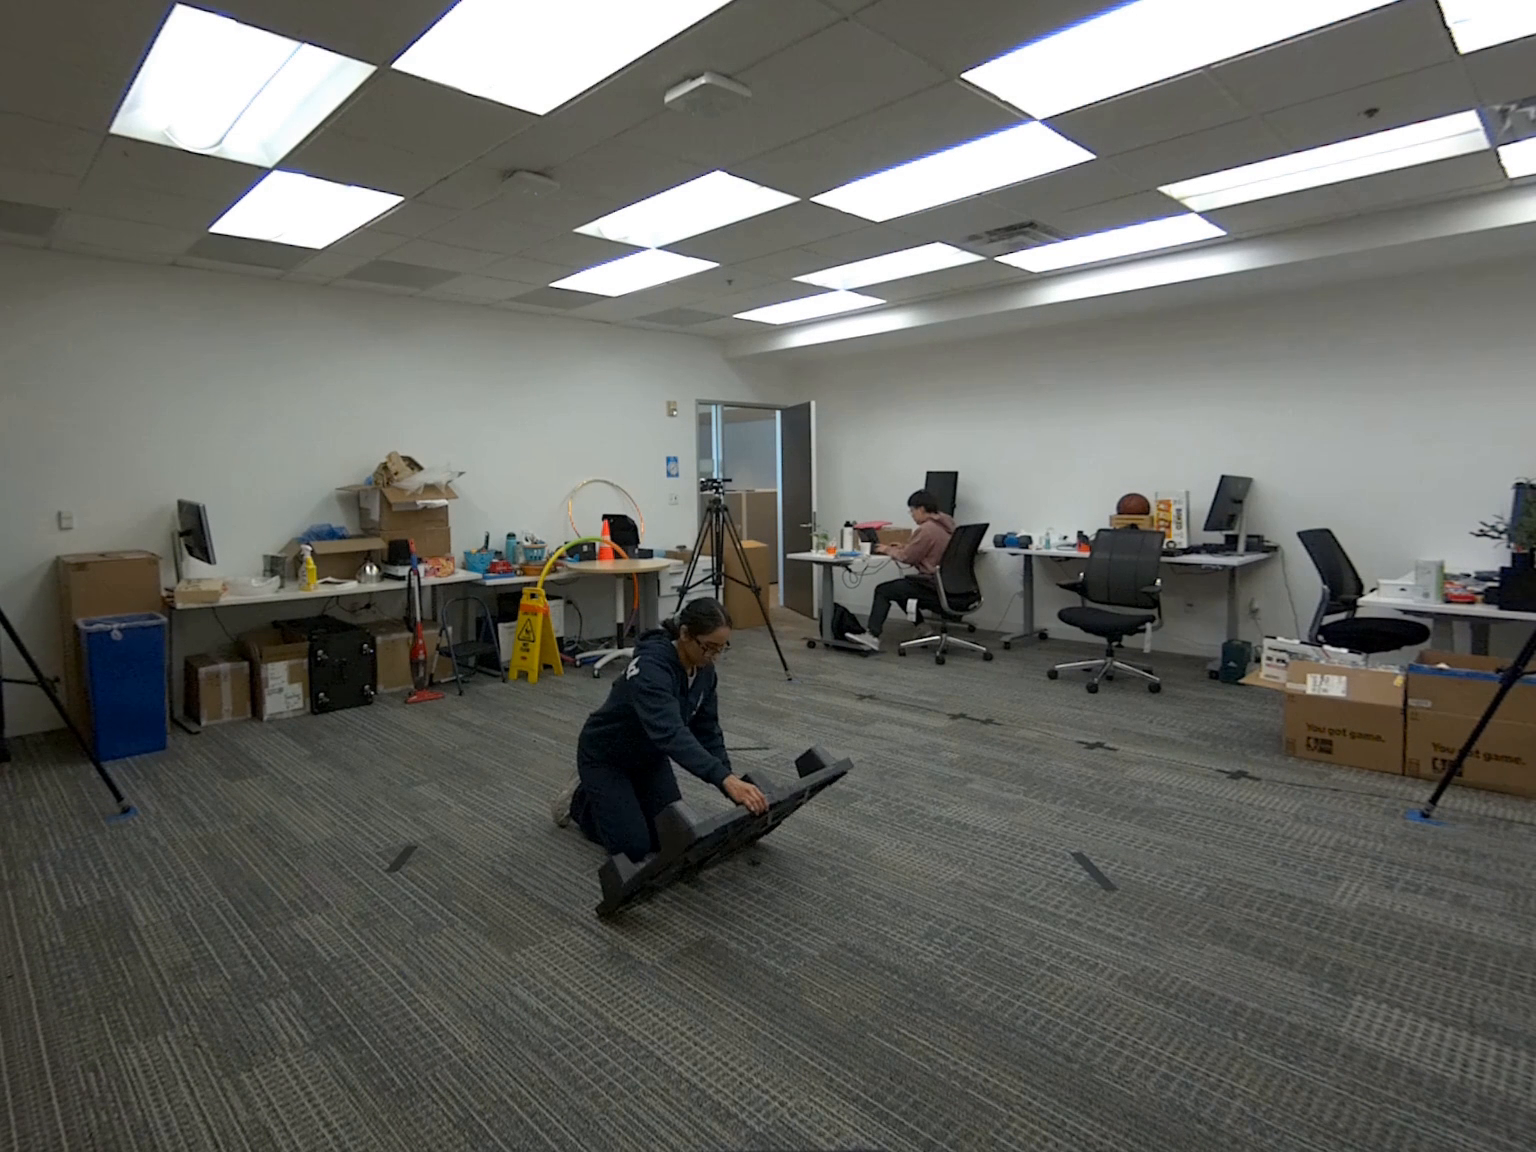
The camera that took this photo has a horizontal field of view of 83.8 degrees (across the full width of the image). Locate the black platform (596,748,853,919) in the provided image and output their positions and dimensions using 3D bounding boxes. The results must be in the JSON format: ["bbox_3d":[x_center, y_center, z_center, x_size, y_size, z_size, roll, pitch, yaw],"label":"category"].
[{"bbox_3d":[-0.148,0.830,2.869,0.785,0.147,0.604,-8,-32,-48],"label":"black platform"}]
